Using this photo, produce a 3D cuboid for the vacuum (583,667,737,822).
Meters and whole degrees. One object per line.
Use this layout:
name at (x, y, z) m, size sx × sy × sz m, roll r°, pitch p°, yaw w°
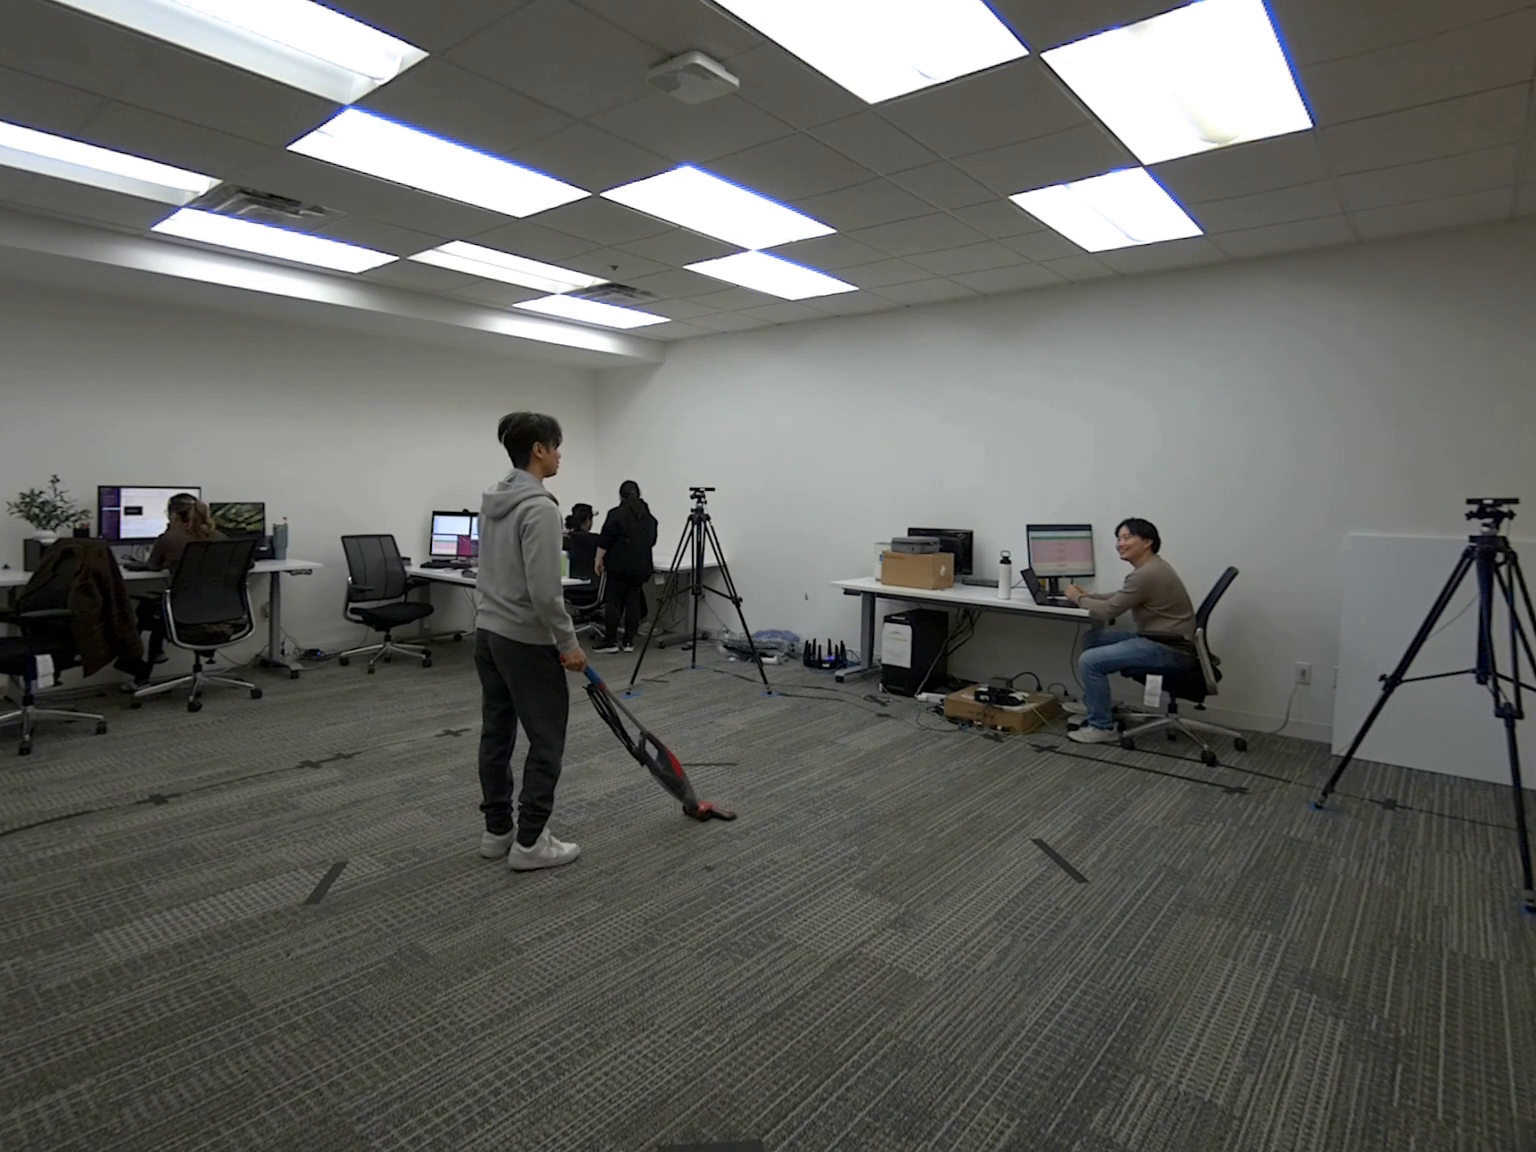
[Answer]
vacuum at (-0.506, 0.663, 3.375) m, size 0.260 × 1.011 × 0.145 m, roll -2°, pitch 45°, yaw 40°
